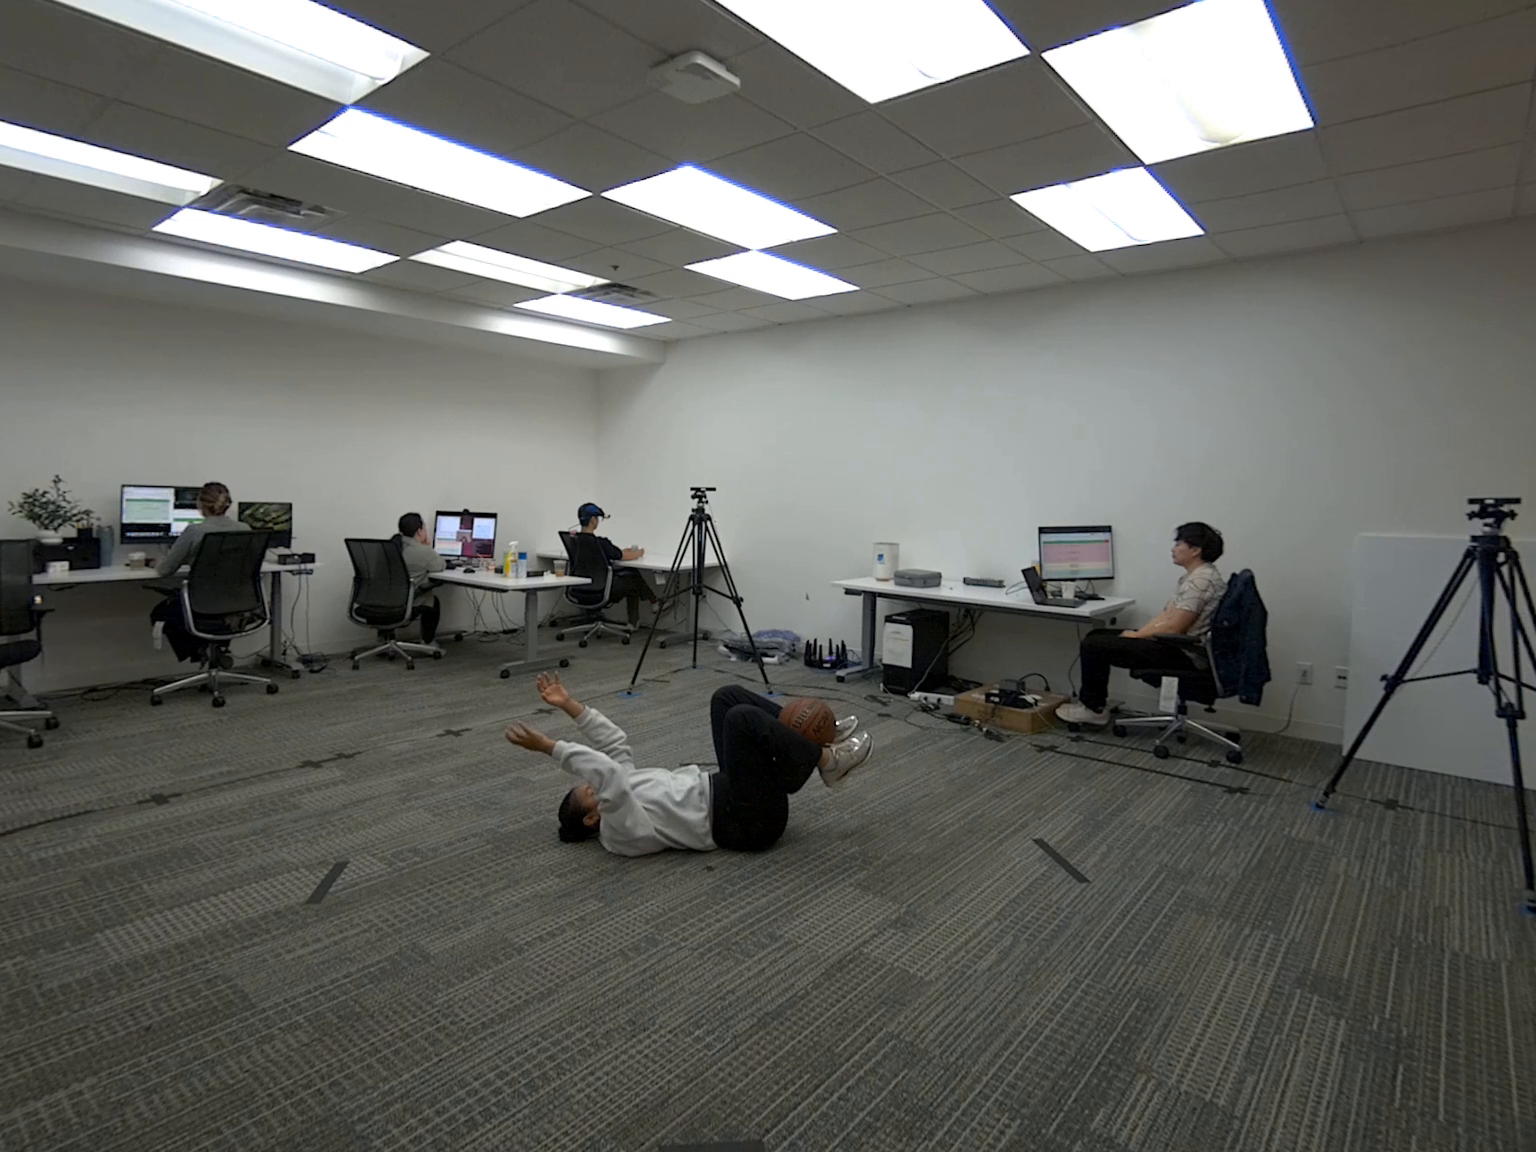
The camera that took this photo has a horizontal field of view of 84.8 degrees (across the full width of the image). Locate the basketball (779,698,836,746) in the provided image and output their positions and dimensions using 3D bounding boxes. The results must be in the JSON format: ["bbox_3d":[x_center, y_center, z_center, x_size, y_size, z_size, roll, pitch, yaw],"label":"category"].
[{"bbox_3d":[0.149,0.597,3.421,0.235,0.235,0.237,1,4,-2],"label":"basketball"}]
